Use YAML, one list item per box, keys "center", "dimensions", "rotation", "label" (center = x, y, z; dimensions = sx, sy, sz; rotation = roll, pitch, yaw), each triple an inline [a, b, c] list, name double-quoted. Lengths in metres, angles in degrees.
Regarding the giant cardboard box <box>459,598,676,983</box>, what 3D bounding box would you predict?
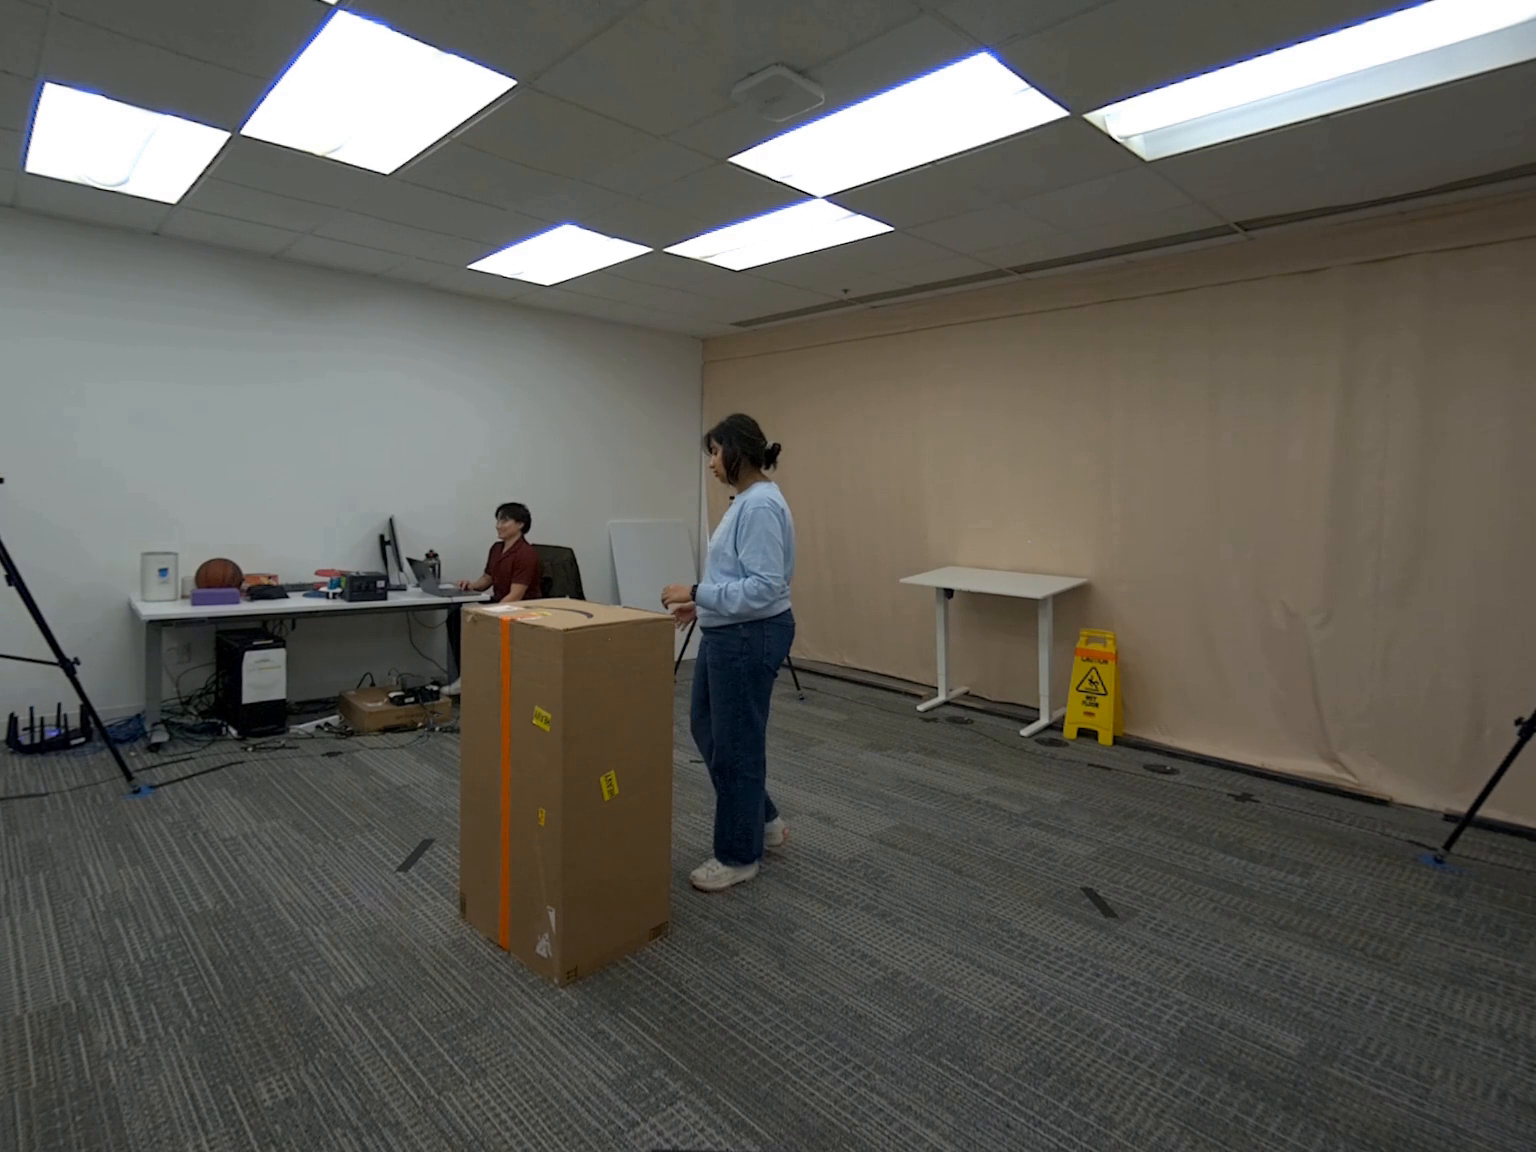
- center: [-0.662, 0.622, 2.680]
  dimensions: [0.599, 1.024, 0.437]
  rotation: [5, 6, 44]
  label: "giant cardboard box"
